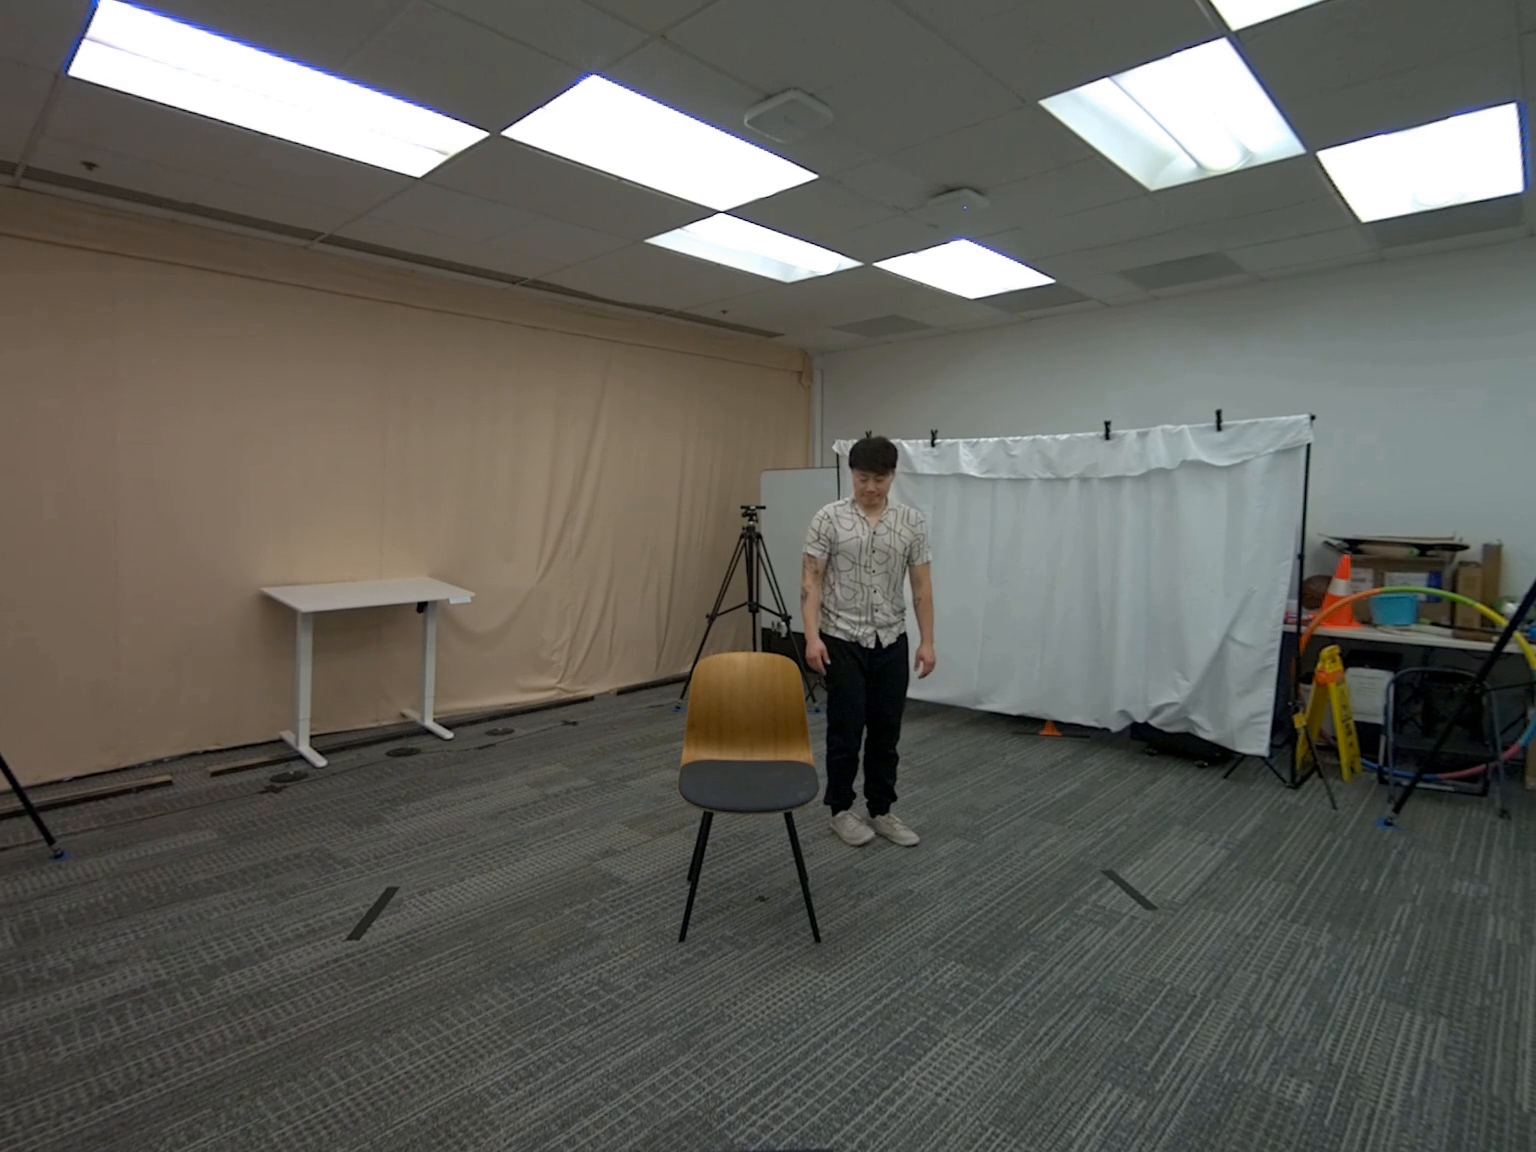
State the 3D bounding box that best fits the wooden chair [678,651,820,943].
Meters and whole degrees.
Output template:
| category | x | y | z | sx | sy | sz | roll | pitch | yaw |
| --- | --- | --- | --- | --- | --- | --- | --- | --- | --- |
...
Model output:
| category | x | y | z | sx | sy | sz | roll | pitch | yaw |
| --- | --- | --- | --- | --- | --- | --- | --- | --- | --- |
| wooden chair | -0.061 | 0.727 | 2.867 | 0.478 | 0.878 | 0.523 | 0 | -1 | -2 |
